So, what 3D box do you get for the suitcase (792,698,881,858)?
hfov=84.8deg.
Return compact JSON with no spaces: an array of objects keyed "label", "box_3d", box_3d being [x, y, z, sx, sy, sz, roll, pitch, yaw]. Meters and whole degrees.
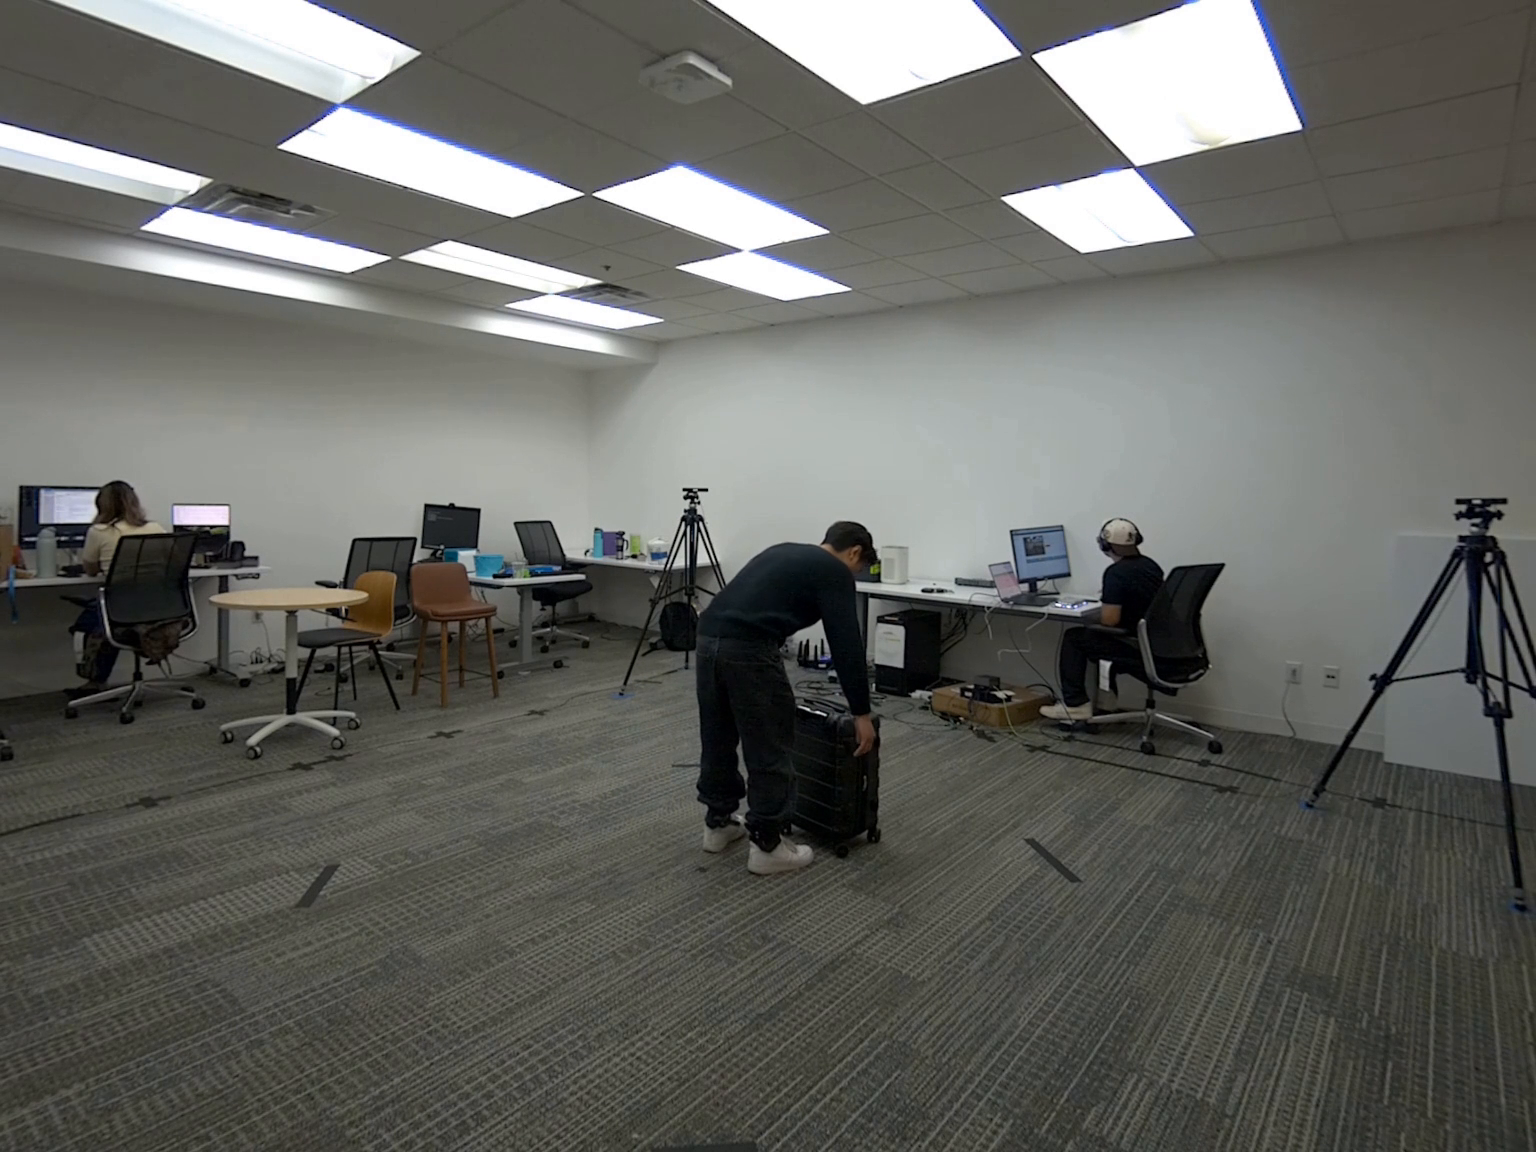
[{"label":"suitcase","box_3d":[0.240,0.769,3.421,0.241,0.548,0.388,-1,4,-39]}]
